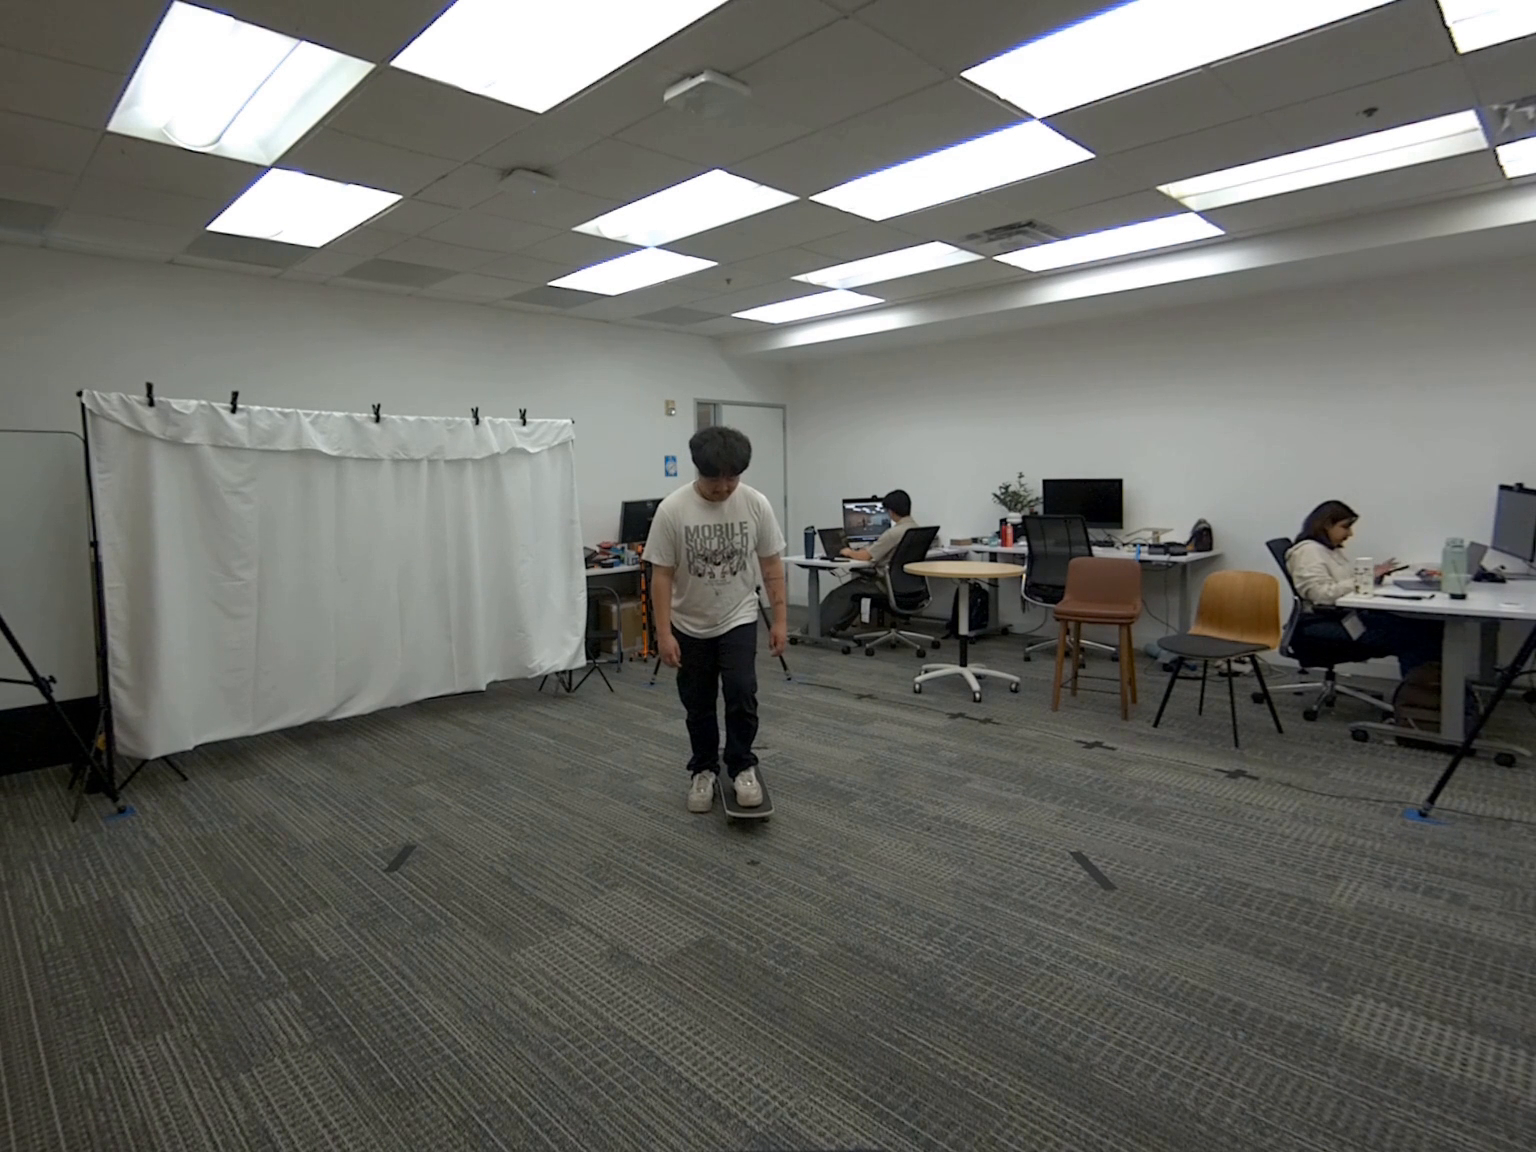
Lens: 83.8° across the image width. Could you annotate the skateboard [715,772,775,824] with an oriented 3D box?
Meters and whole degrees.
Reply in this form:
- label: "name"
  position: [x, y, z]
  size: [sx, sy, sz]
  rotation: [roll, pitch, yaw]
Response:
- label: "skateboard"
  position: [-0.107, 0.919, 3.679]
  size: [0.192, 0.110, 0.794]
  rotation: [-3, 7, -8]
